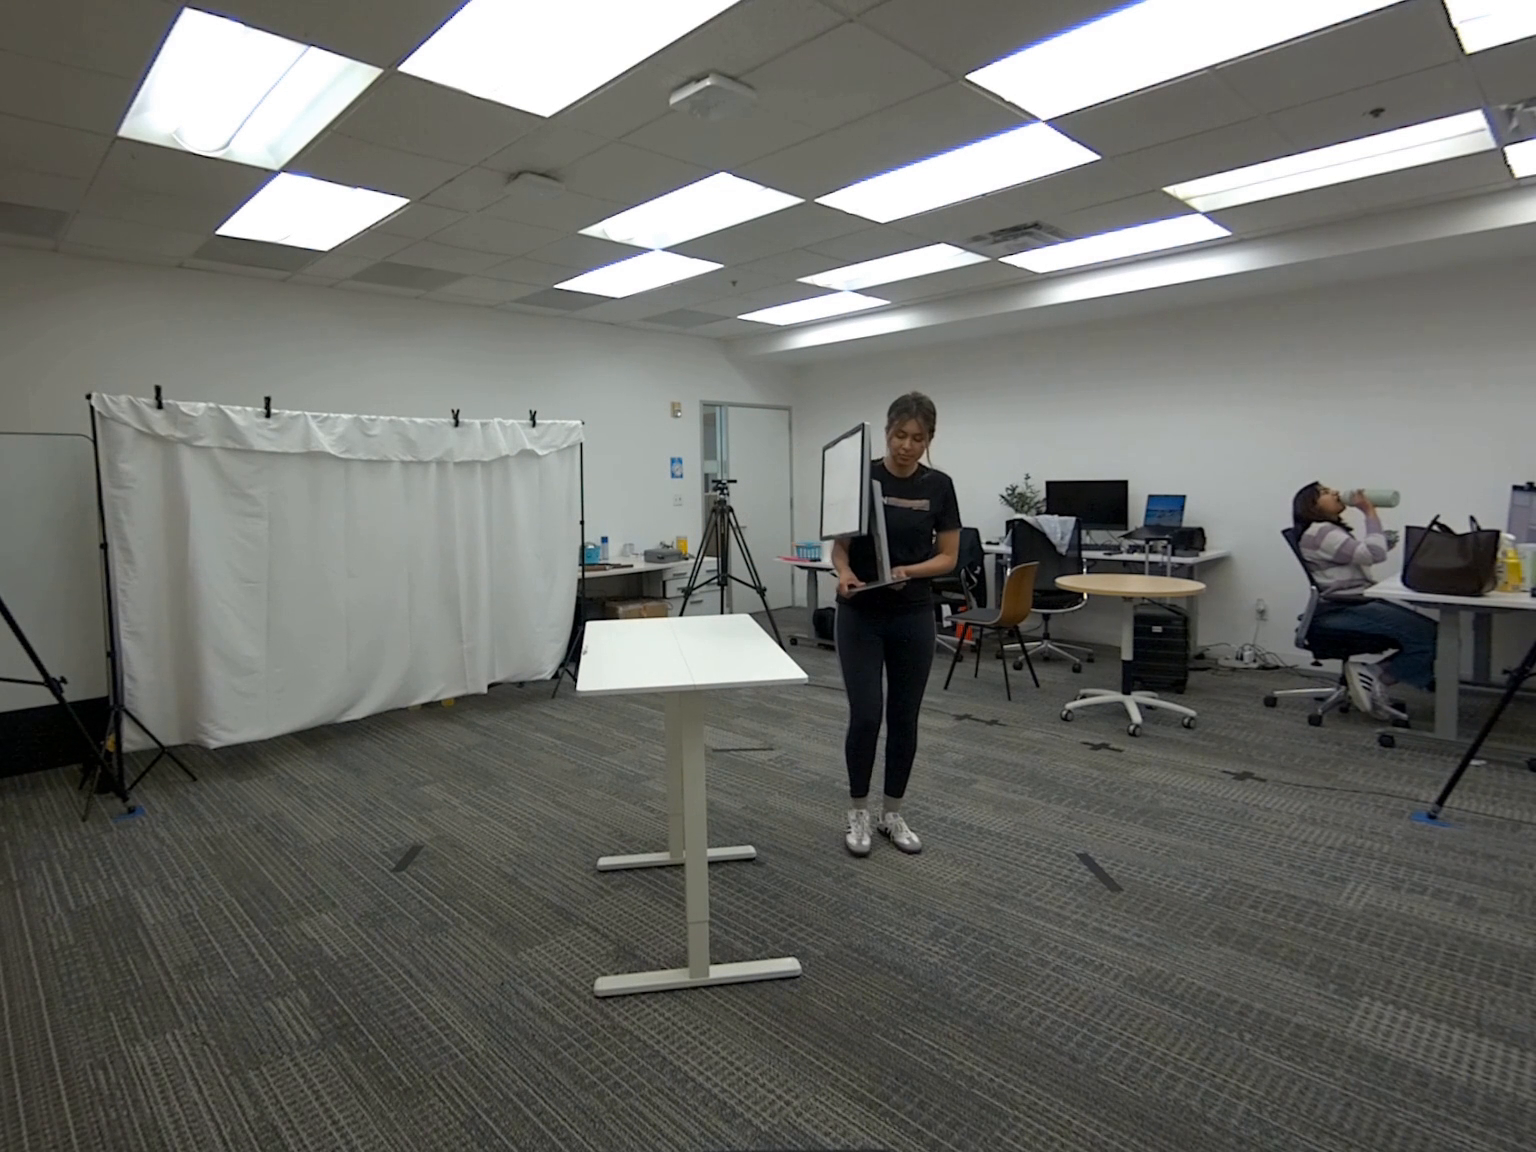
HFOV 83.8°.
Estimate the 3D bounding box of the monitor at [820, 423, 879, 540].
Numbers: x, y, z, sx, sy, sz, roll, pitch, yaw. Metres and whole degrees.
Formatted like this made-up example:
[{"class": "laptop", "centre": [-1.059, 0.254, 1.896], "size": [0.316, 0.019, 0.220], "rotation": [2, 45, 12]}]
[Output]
[{"class": "monitor", "centre": [0.312, -0.226, 2.996], "size": [0.185, 0.523, 0.544], "rotation": [-9, 0, -12]}]
